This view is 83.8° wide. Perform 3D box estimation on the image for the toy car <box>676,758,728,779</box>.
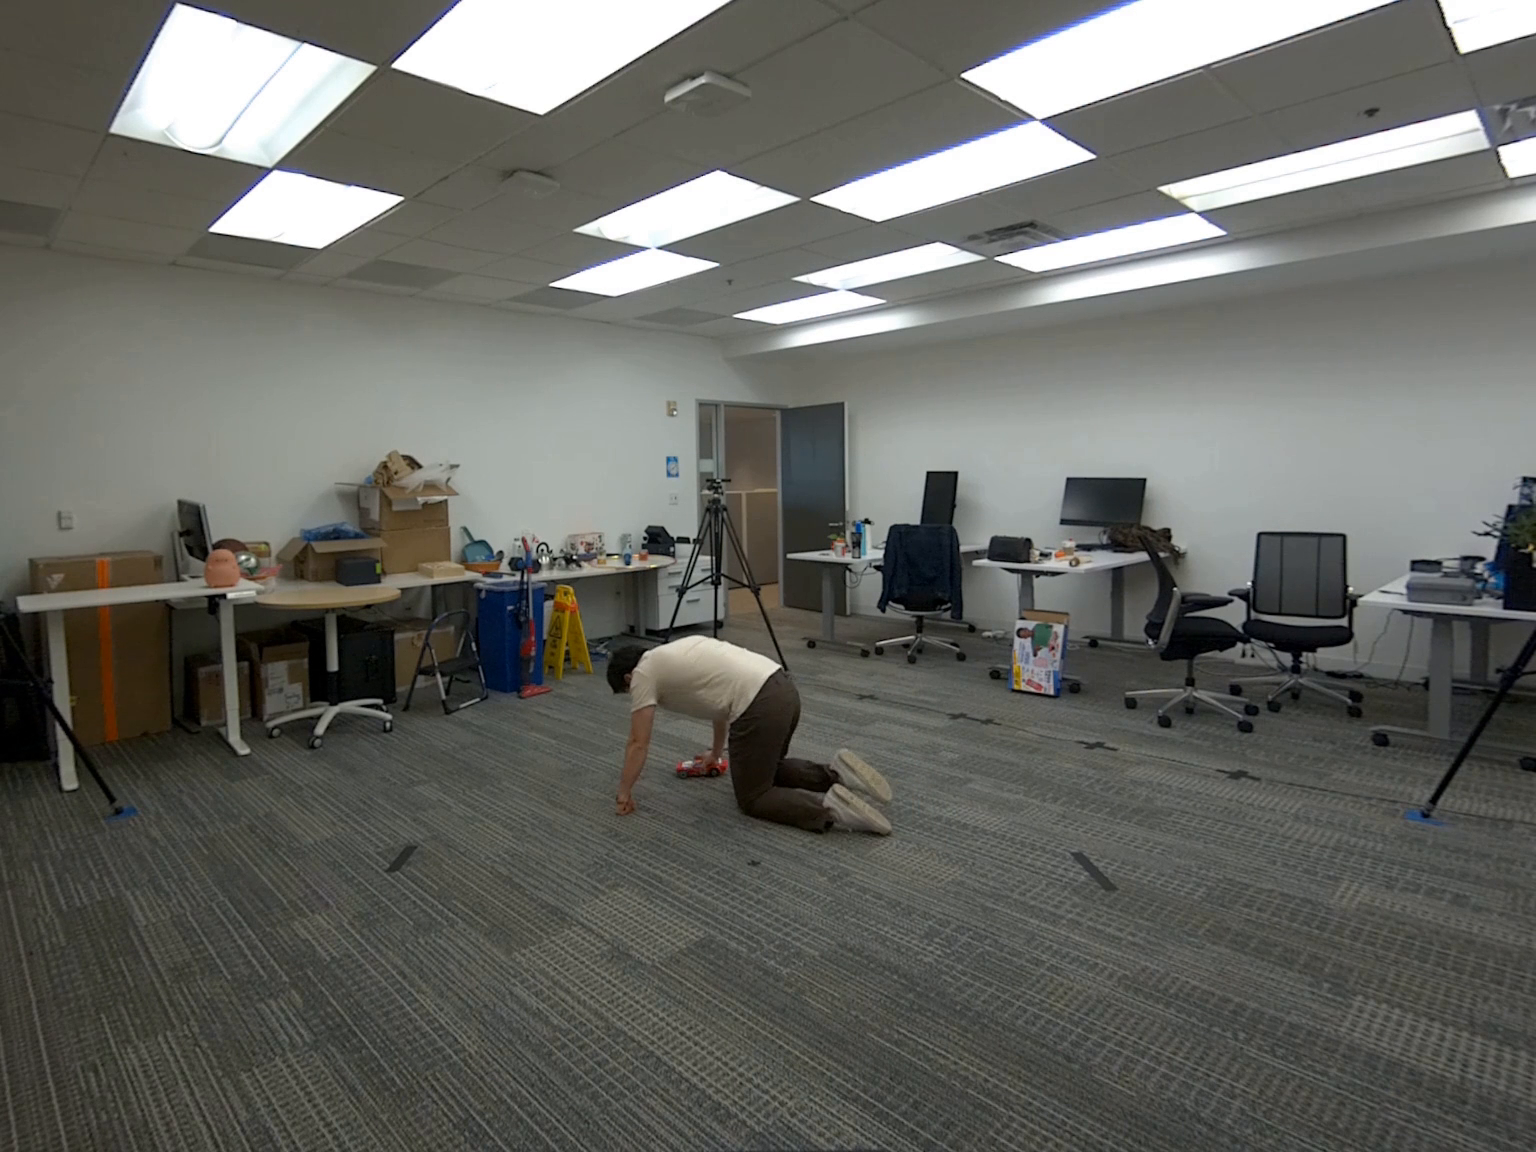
[{"bbox_3d":[-0.314,0.913,4.068,0.254,0.083,0.131,-11,5,-3],"label":"toy car"}]
